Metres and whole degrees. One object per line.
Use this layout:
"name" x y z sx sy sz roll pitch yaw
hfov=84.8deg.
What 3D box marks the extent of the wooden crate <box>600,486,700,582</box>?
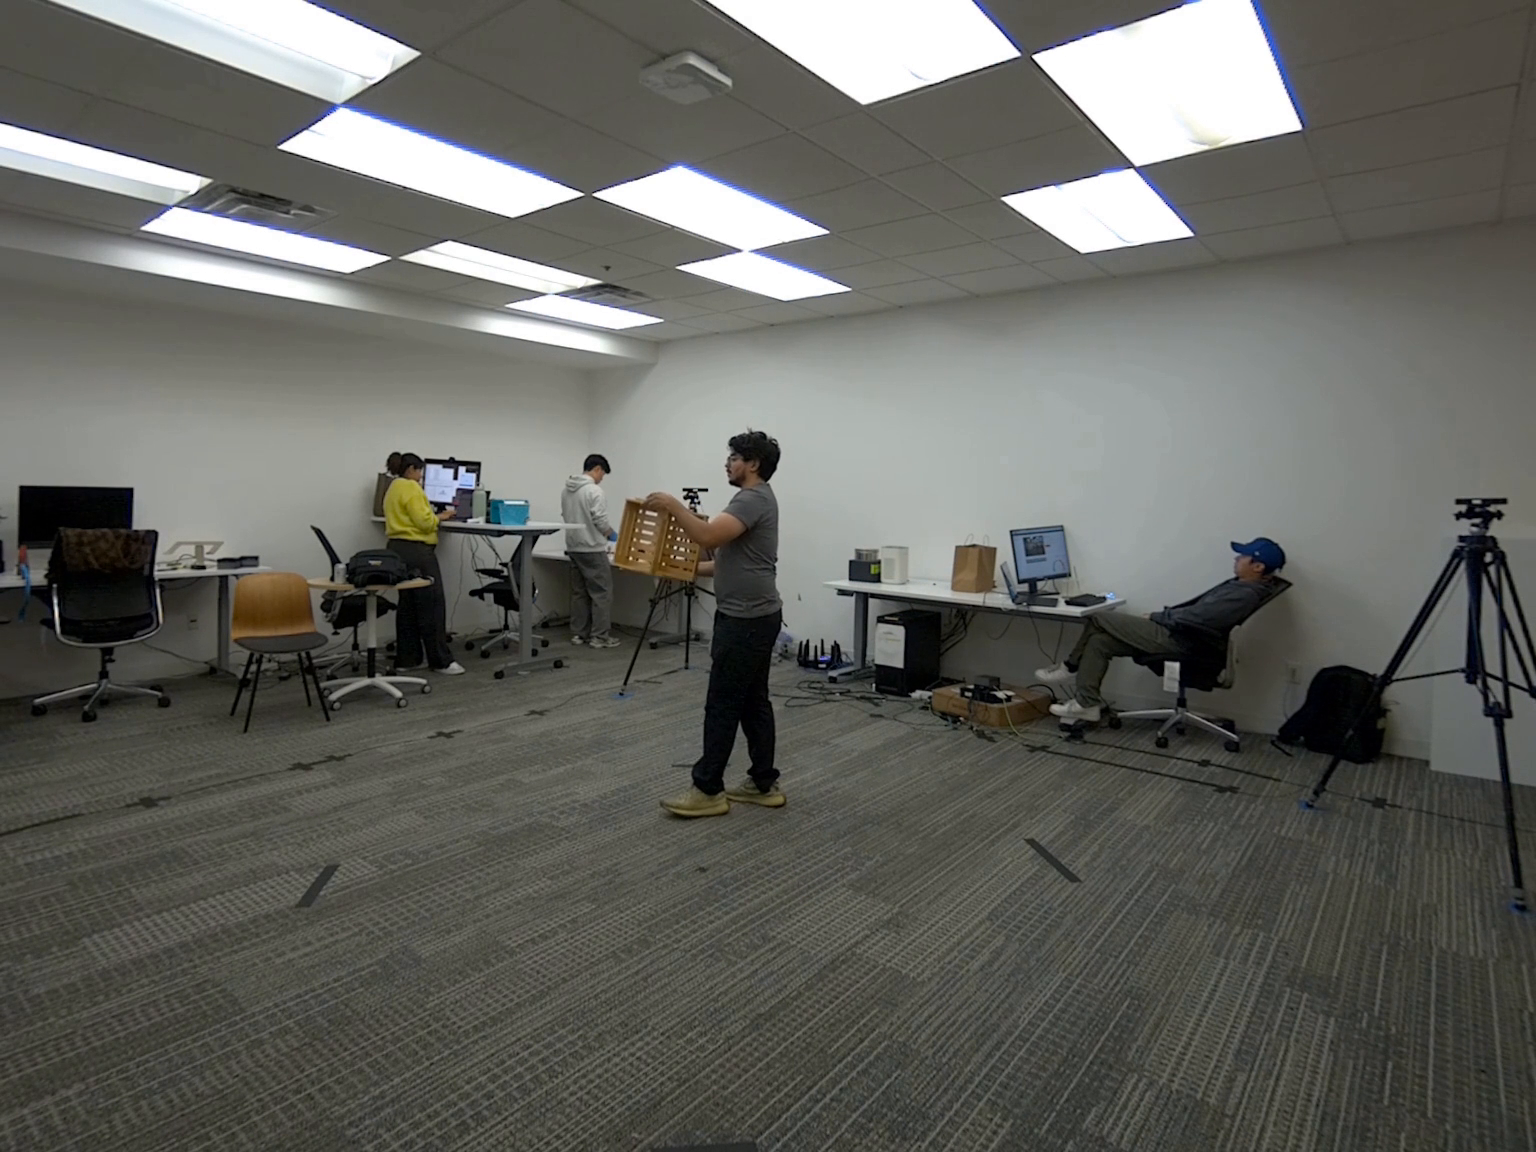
"wooden crate" -0.487 -0.166 3.798 0.313 0.324 0.263 14 3 39
